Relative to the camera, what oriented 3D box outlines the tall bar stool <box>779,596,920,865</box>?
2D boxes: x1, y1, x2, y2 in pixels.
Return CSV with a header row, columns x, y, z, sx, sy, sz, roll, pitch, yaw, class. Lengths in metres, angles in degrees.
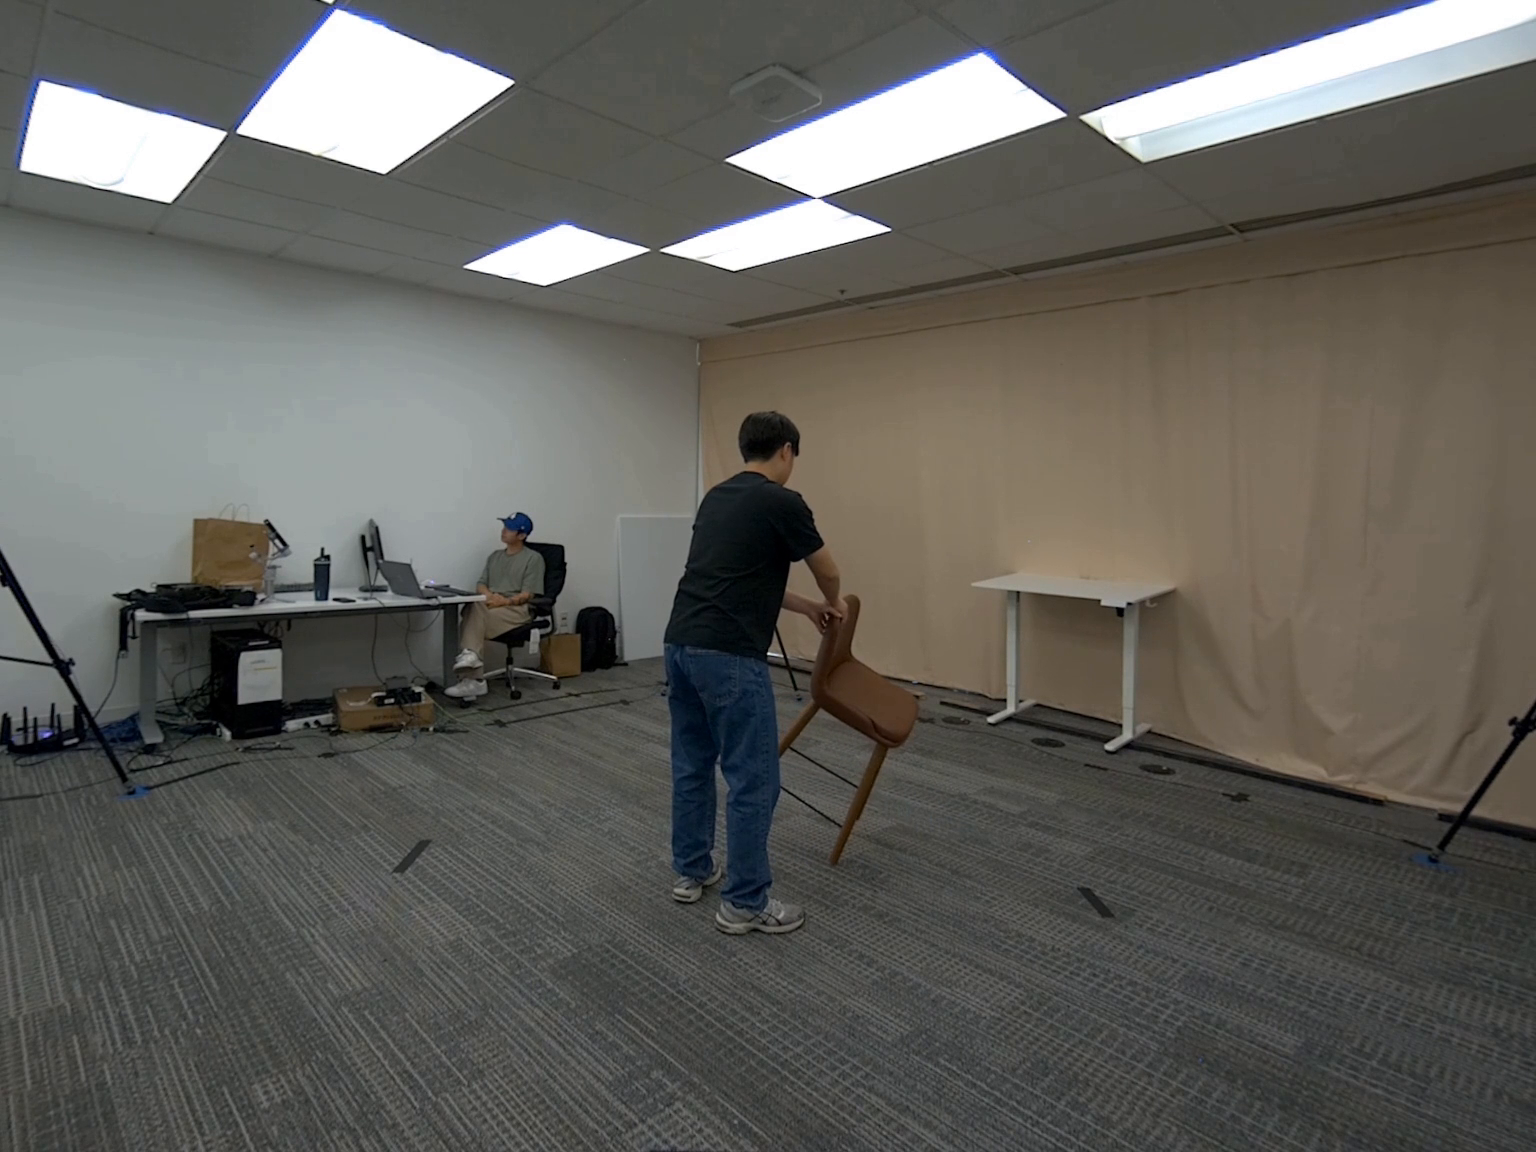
x,y,z,sx,sy,sz,roll,pitch,yaw,class
0.305,0.590,3.326,0.475,0.884,0.452,29,17,14,tall bar stool
